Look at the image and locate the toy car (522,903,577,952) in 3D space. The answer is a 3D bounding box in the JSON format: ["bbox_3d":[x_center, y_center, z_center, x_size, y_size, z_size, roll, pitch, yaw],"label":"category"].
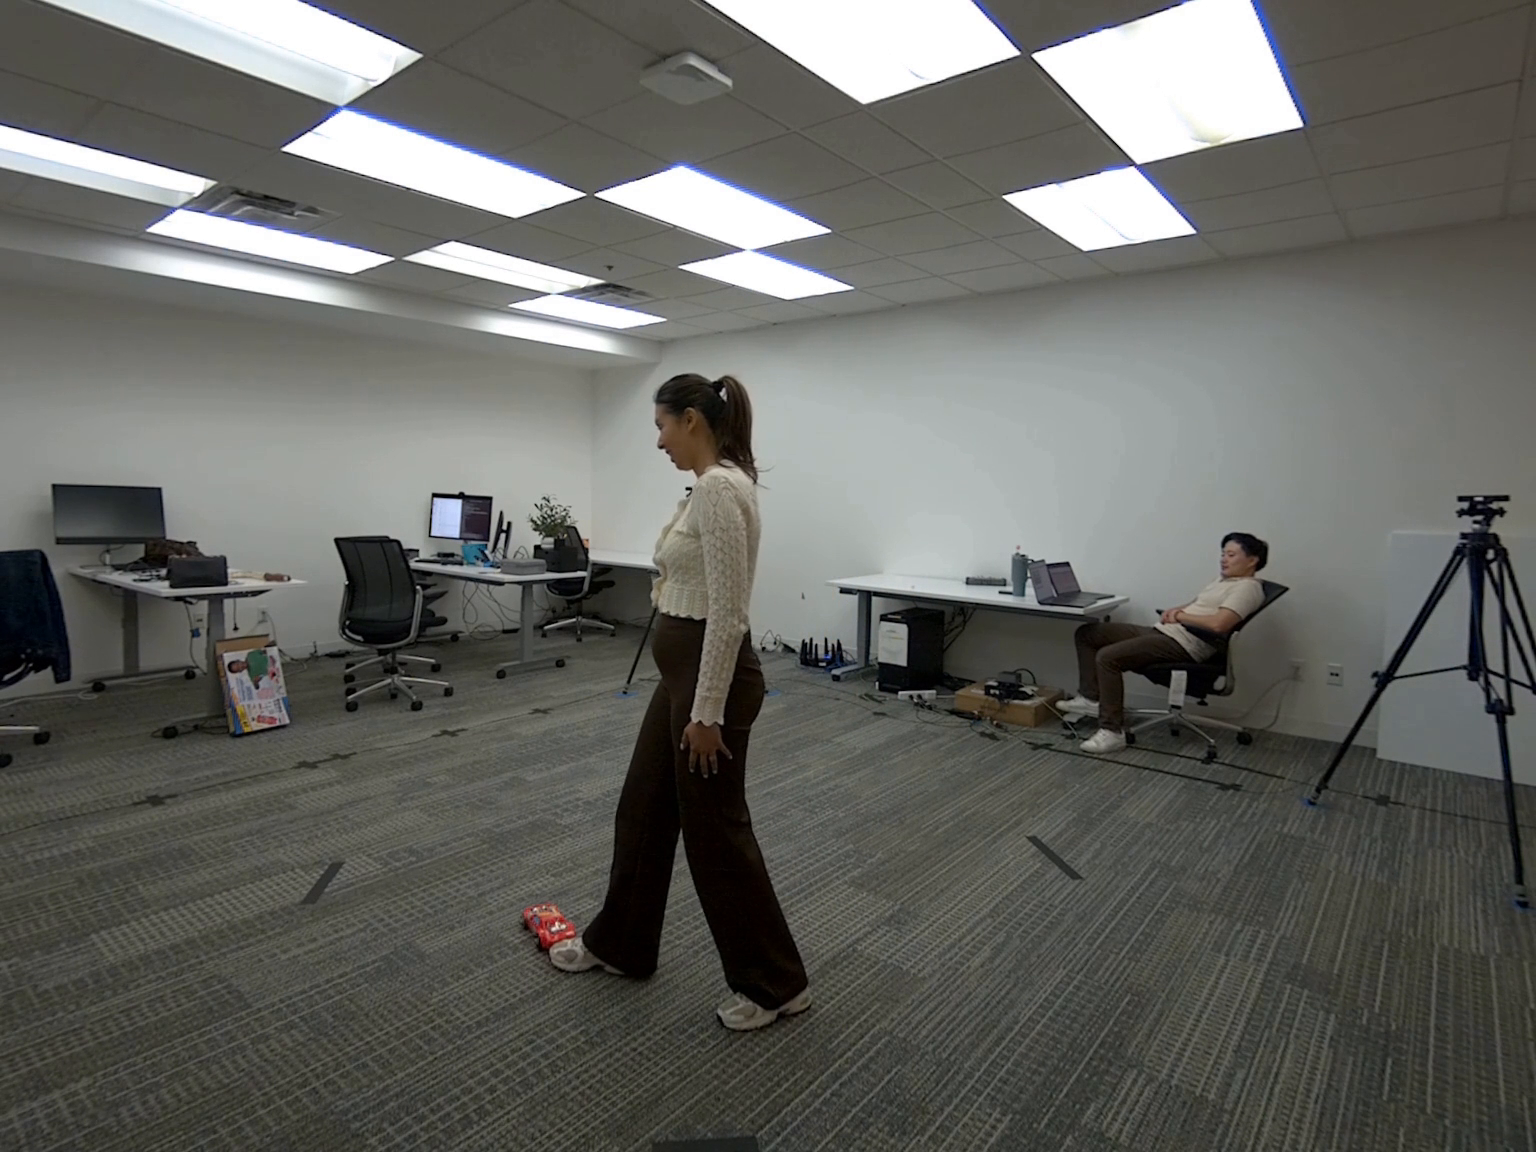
[{"bbox_3d":[-0.679,1.078,2.605,0.127,0.084,0.260,-3,-4,-32],"label":"toy car"}]
